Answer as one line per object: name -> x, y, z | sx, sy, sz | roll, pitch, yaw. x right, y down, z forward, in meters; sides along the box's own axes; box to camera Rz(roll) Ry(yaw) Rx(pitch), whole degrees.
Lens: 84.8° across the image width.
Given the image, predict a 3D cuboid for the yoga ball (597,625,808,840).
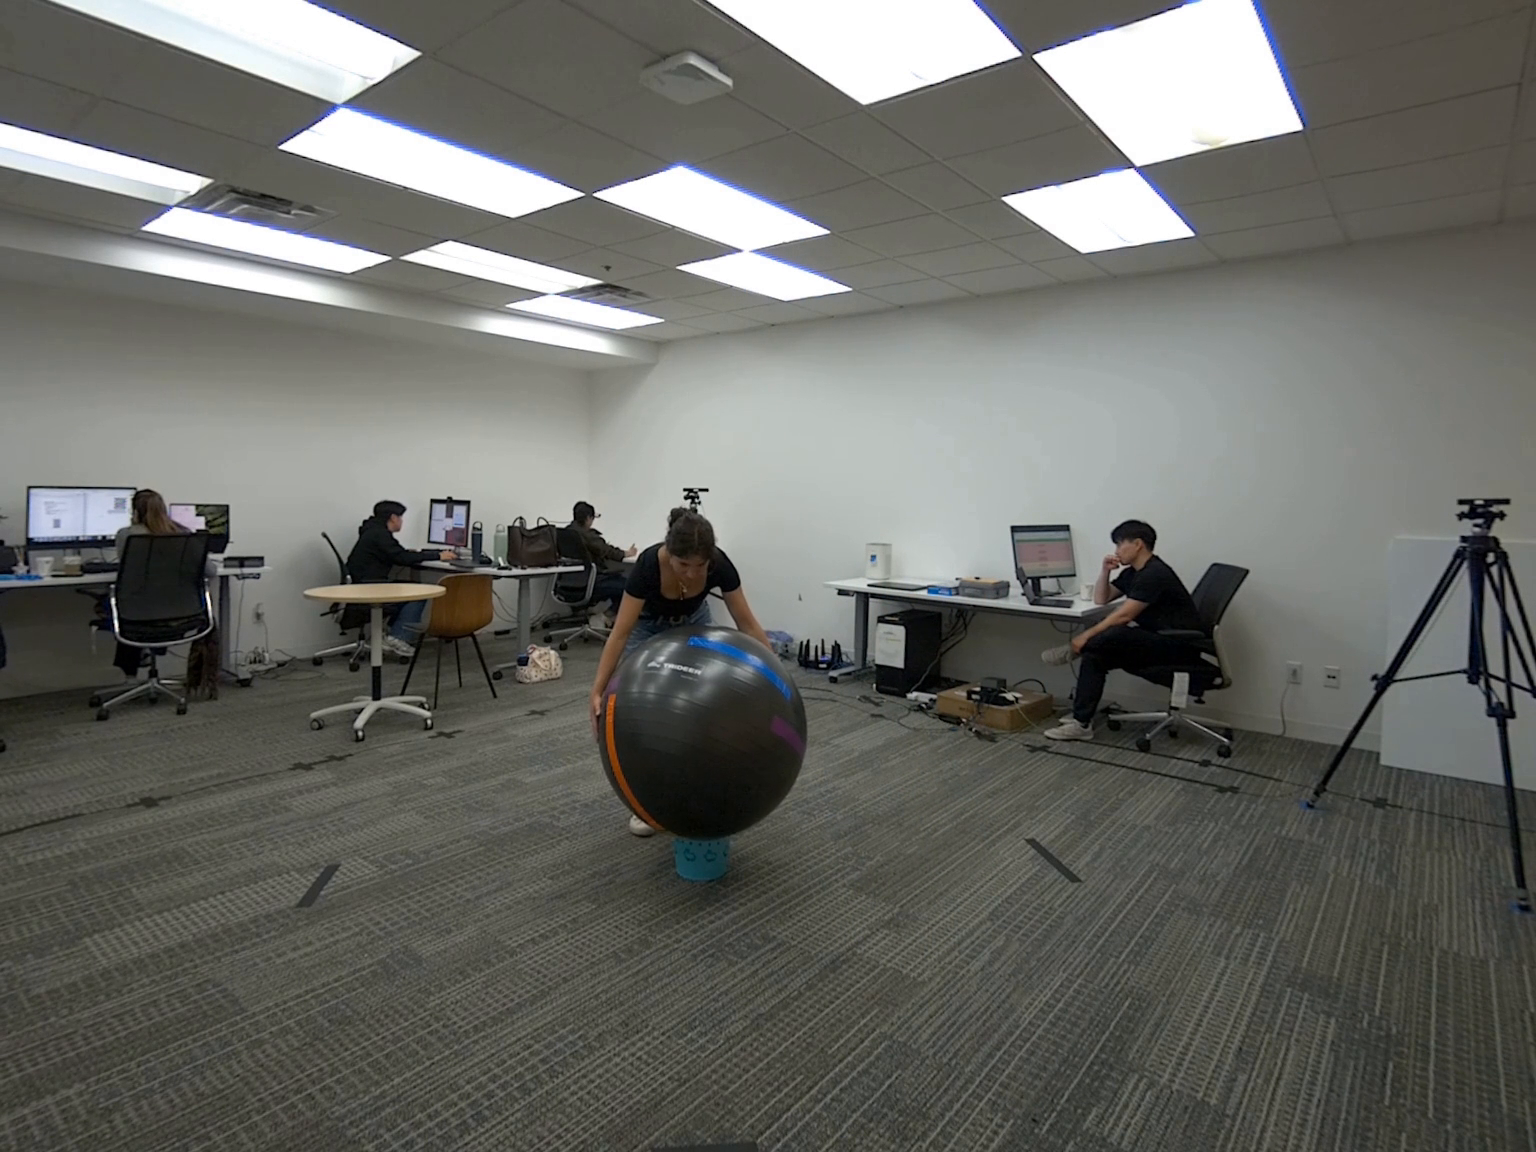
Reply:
yoga ball -> -0.248, 0.550, 3.091 | 0.757, 0.756, 0.762 | 1, 4, -2
